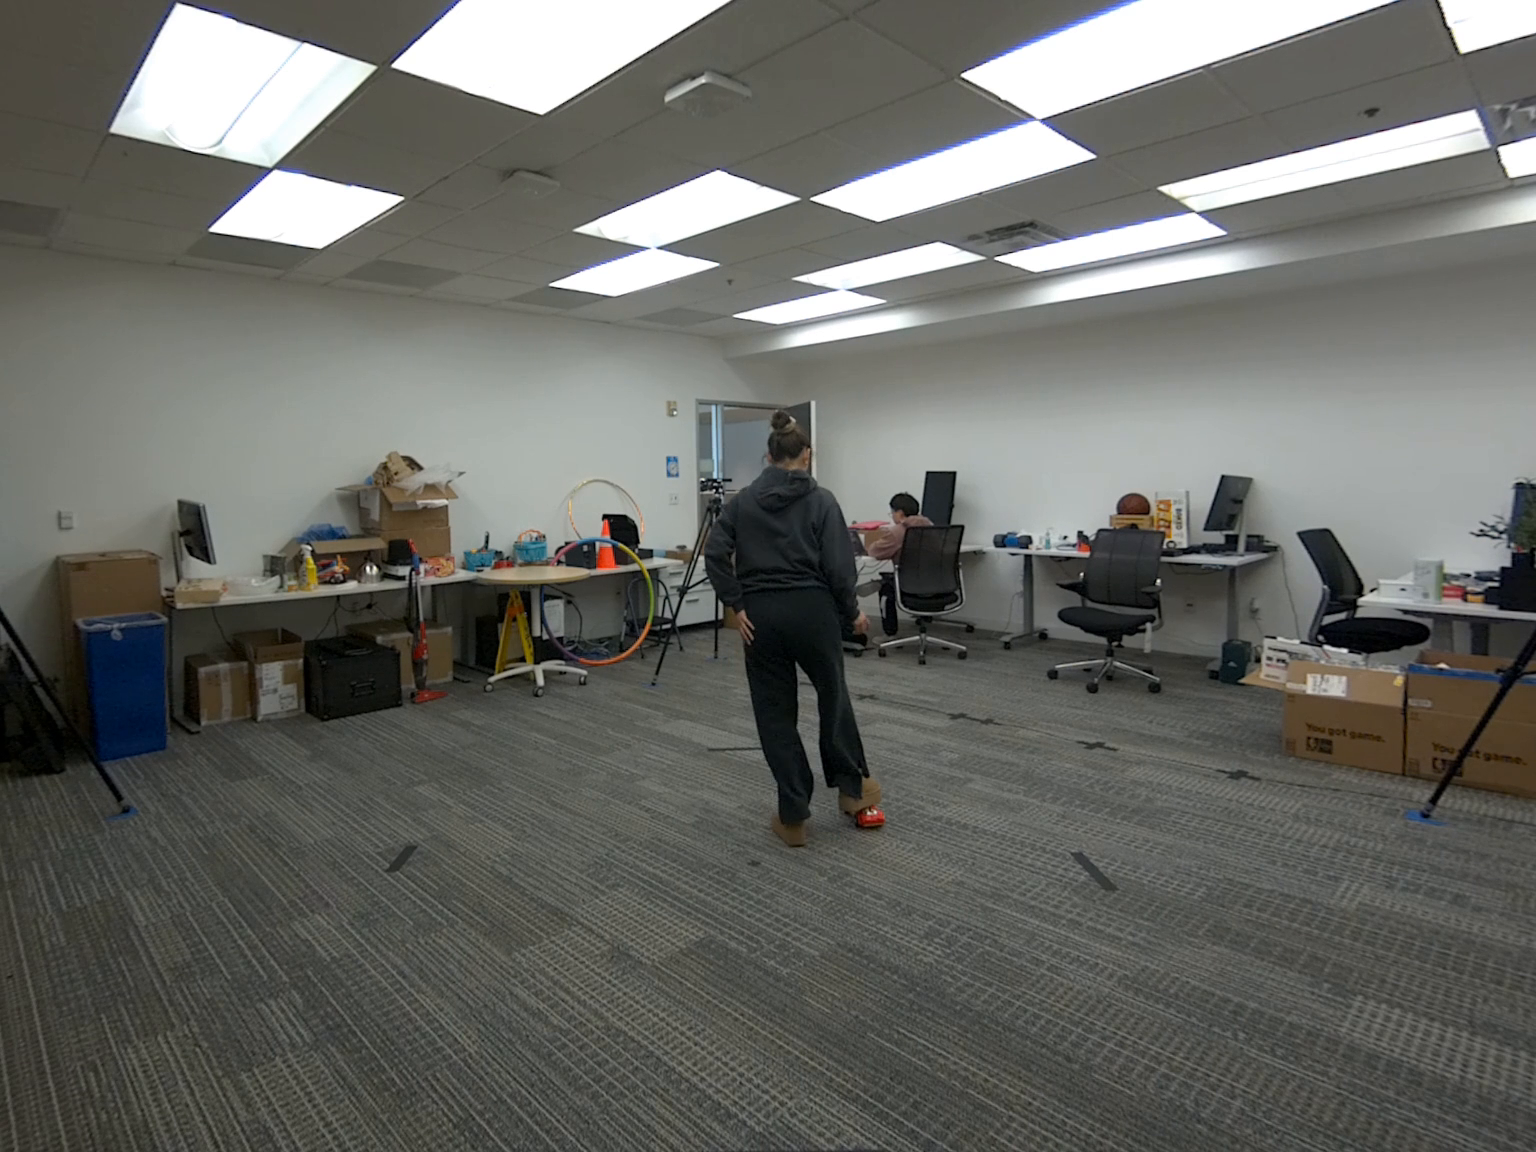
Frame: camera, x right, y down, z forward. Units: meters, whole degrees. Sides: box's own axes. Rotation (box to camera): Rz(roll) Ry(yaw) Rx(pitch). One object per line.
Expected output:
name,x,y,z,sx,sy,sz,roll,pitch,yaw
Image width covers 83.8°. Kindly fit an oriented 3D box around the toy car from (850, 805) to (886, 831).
toy car,0.394,0.967,3.463,0.129,0.084,0.254,0,-6,-8
